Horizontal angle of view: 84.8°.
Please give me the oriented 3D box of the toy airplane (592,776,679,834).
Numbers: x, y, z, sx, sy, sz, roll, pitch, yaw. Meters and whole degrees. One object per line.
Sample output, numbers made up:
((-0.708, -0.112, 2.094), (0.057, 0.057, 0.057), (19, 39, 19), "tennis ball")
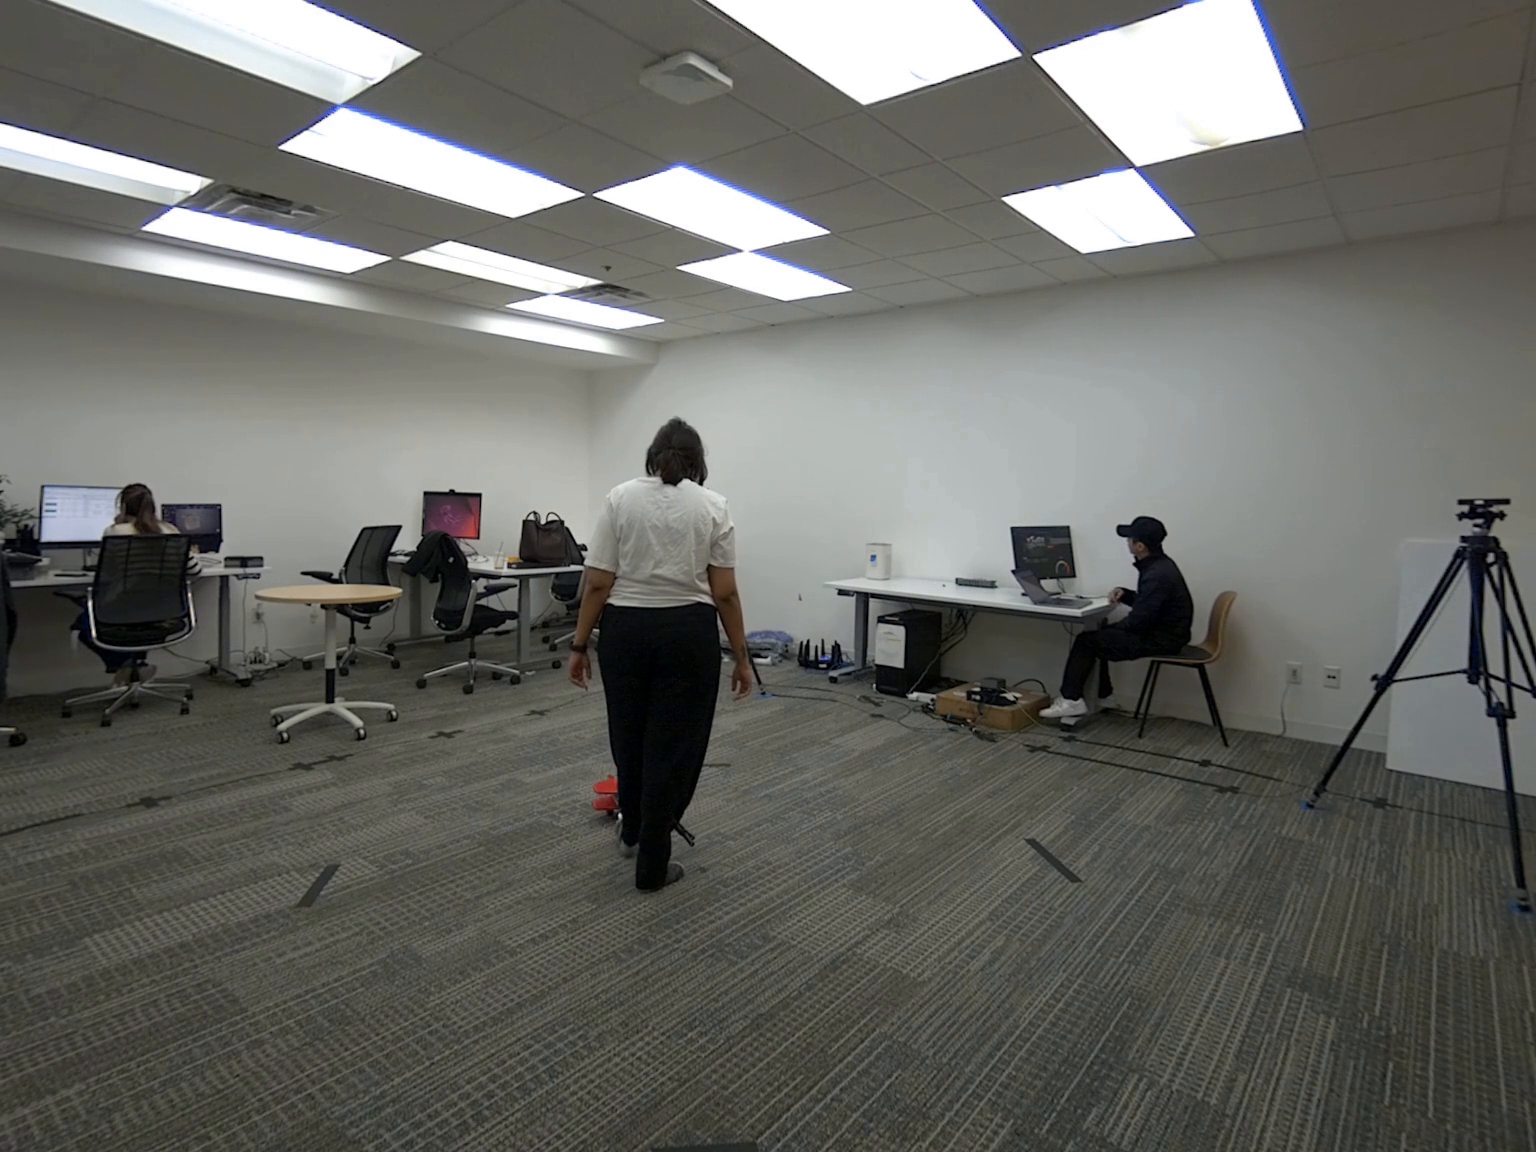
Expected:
((-0.597, 0.942, 3.570), (0.268, 0.156, 0.243), (4, 5, 39), "toy airplane")
